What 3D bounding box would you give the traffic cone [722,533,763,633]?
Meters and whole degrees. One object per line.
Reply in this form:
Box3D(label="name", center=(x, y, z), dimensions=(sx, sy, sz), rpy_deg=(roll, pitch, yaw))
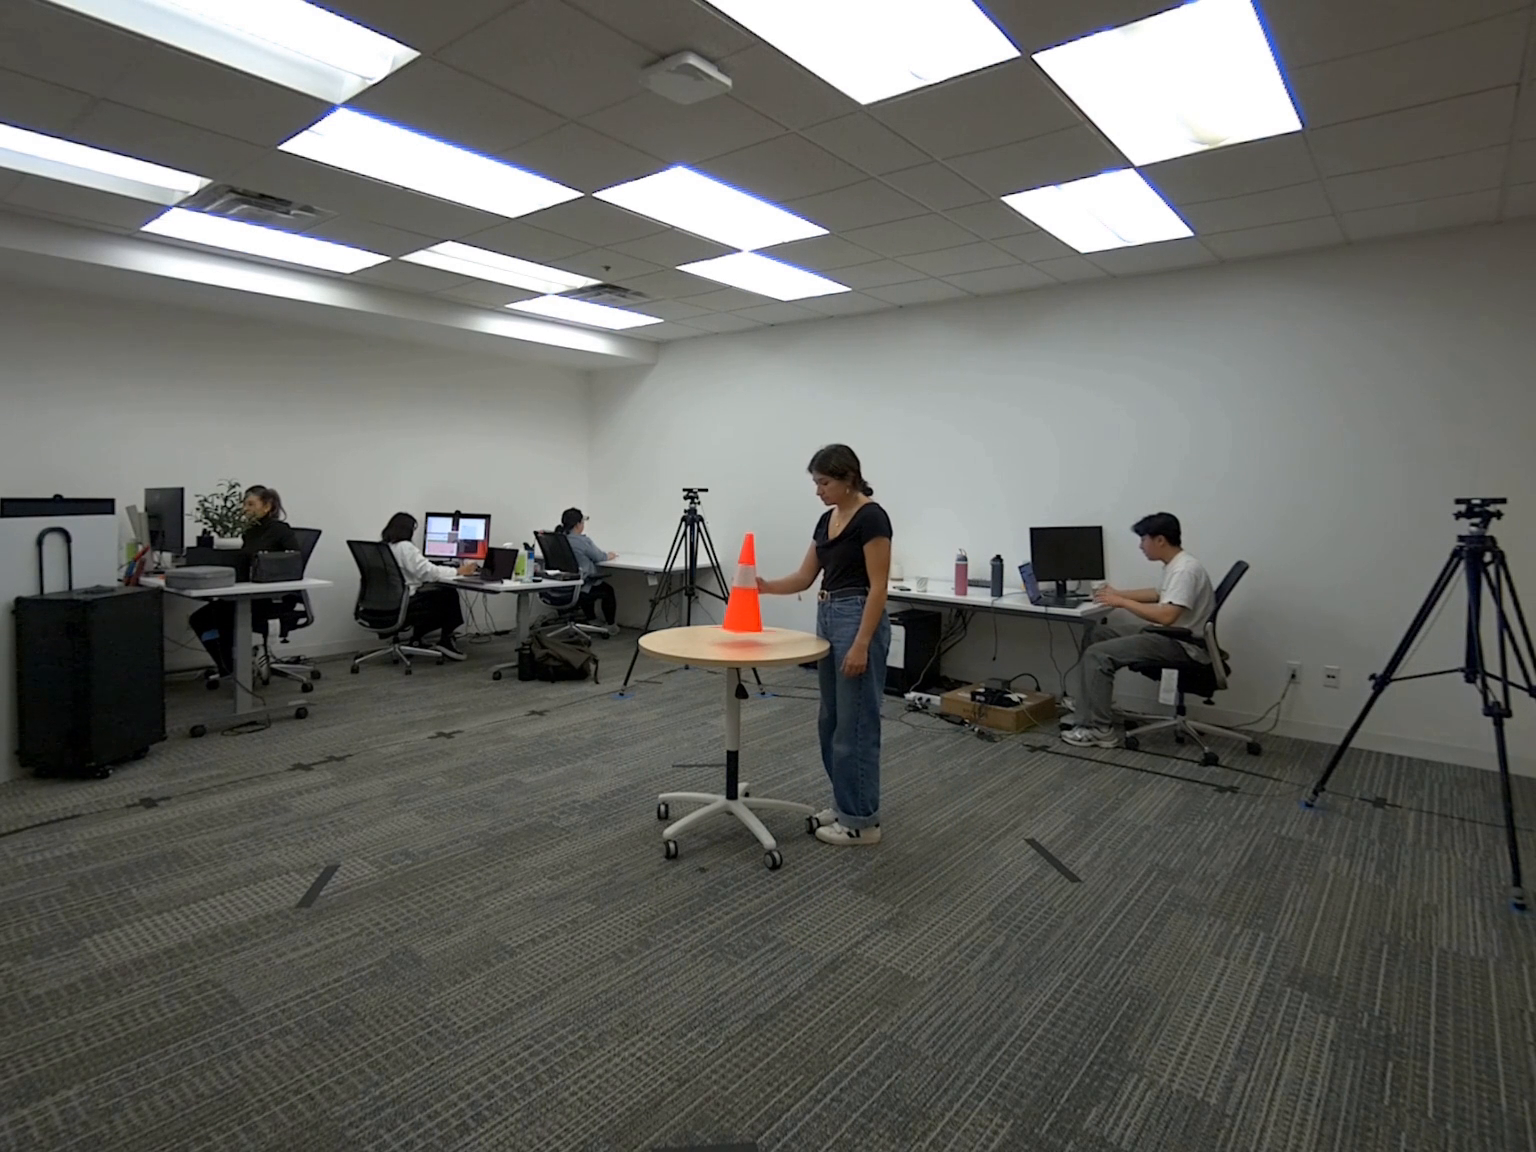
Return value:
Box3D(label="traffic cone", center=(-0.086, 0.019, 3.359), dimensions=(0.197, 0.384, 0.212), rpy_deg=(2, 0, -45))
